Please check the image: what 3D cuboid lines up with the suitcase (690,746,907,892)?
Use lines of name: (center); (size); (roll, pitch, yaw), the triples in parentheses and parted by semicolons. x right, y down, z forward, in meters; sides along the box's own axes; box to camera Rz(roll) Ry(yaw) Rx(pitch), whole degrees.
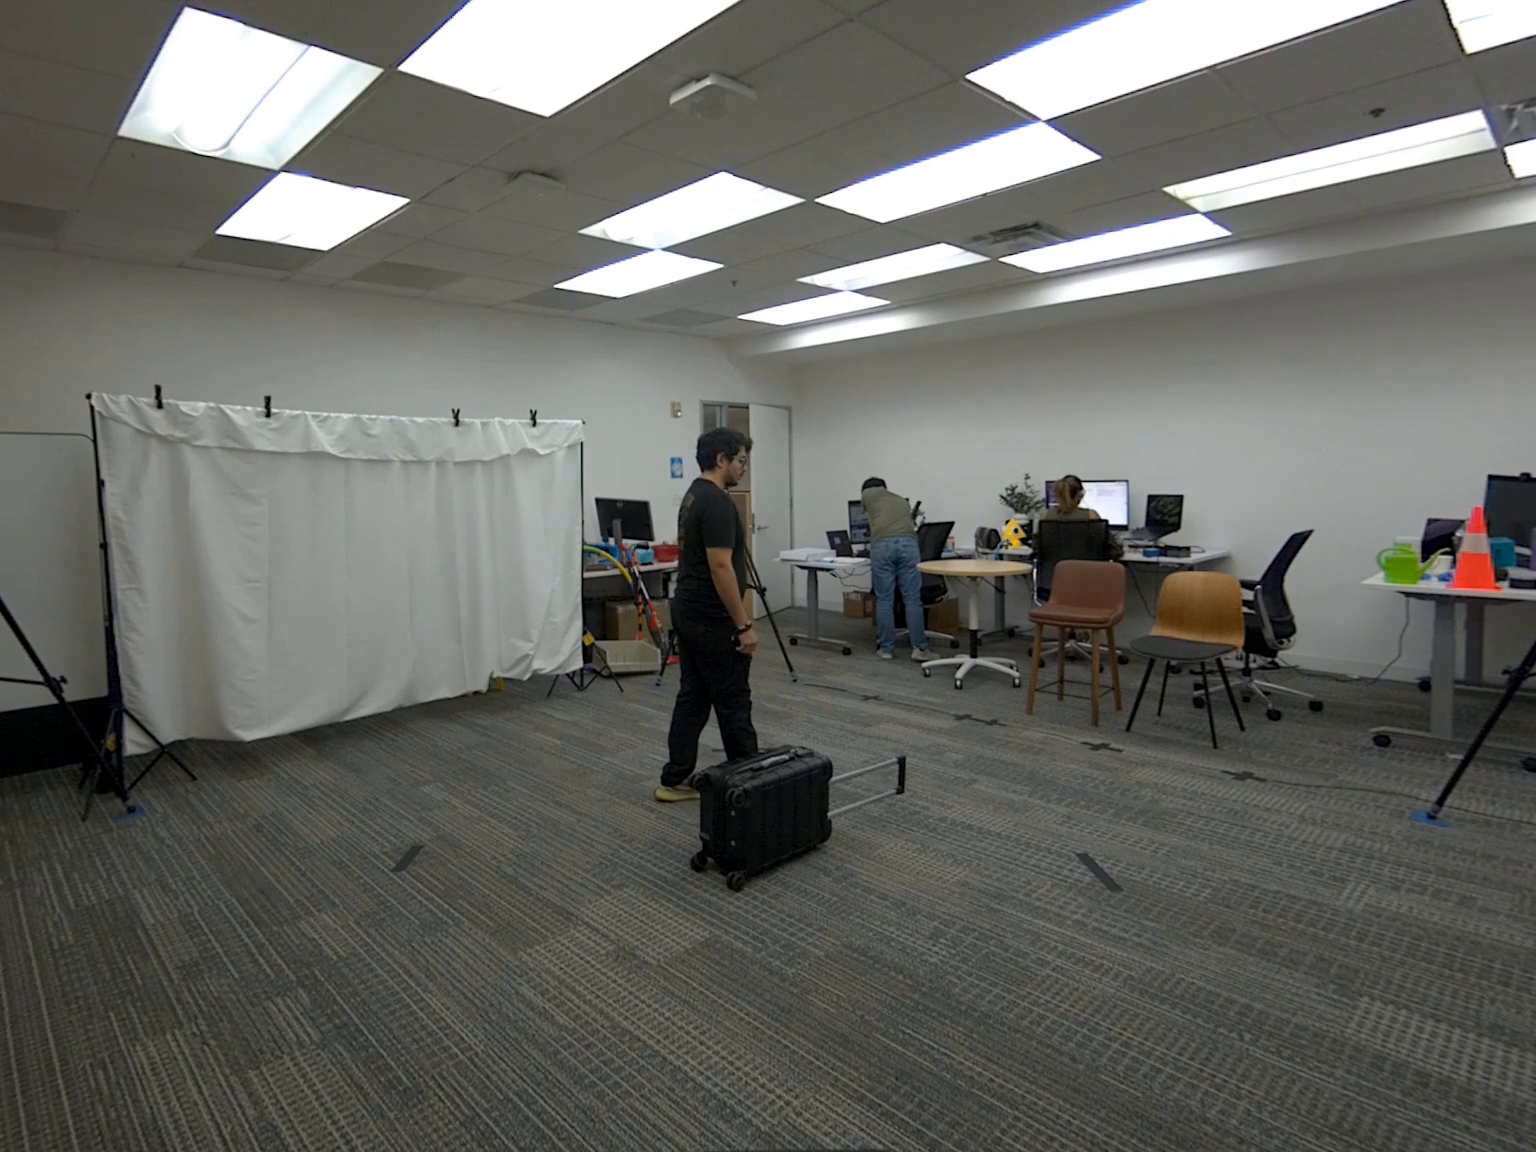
suitcase: (0.141, 0.836, 3.294); (0.265, 0.383, 0.953); (3, 6, 44)
